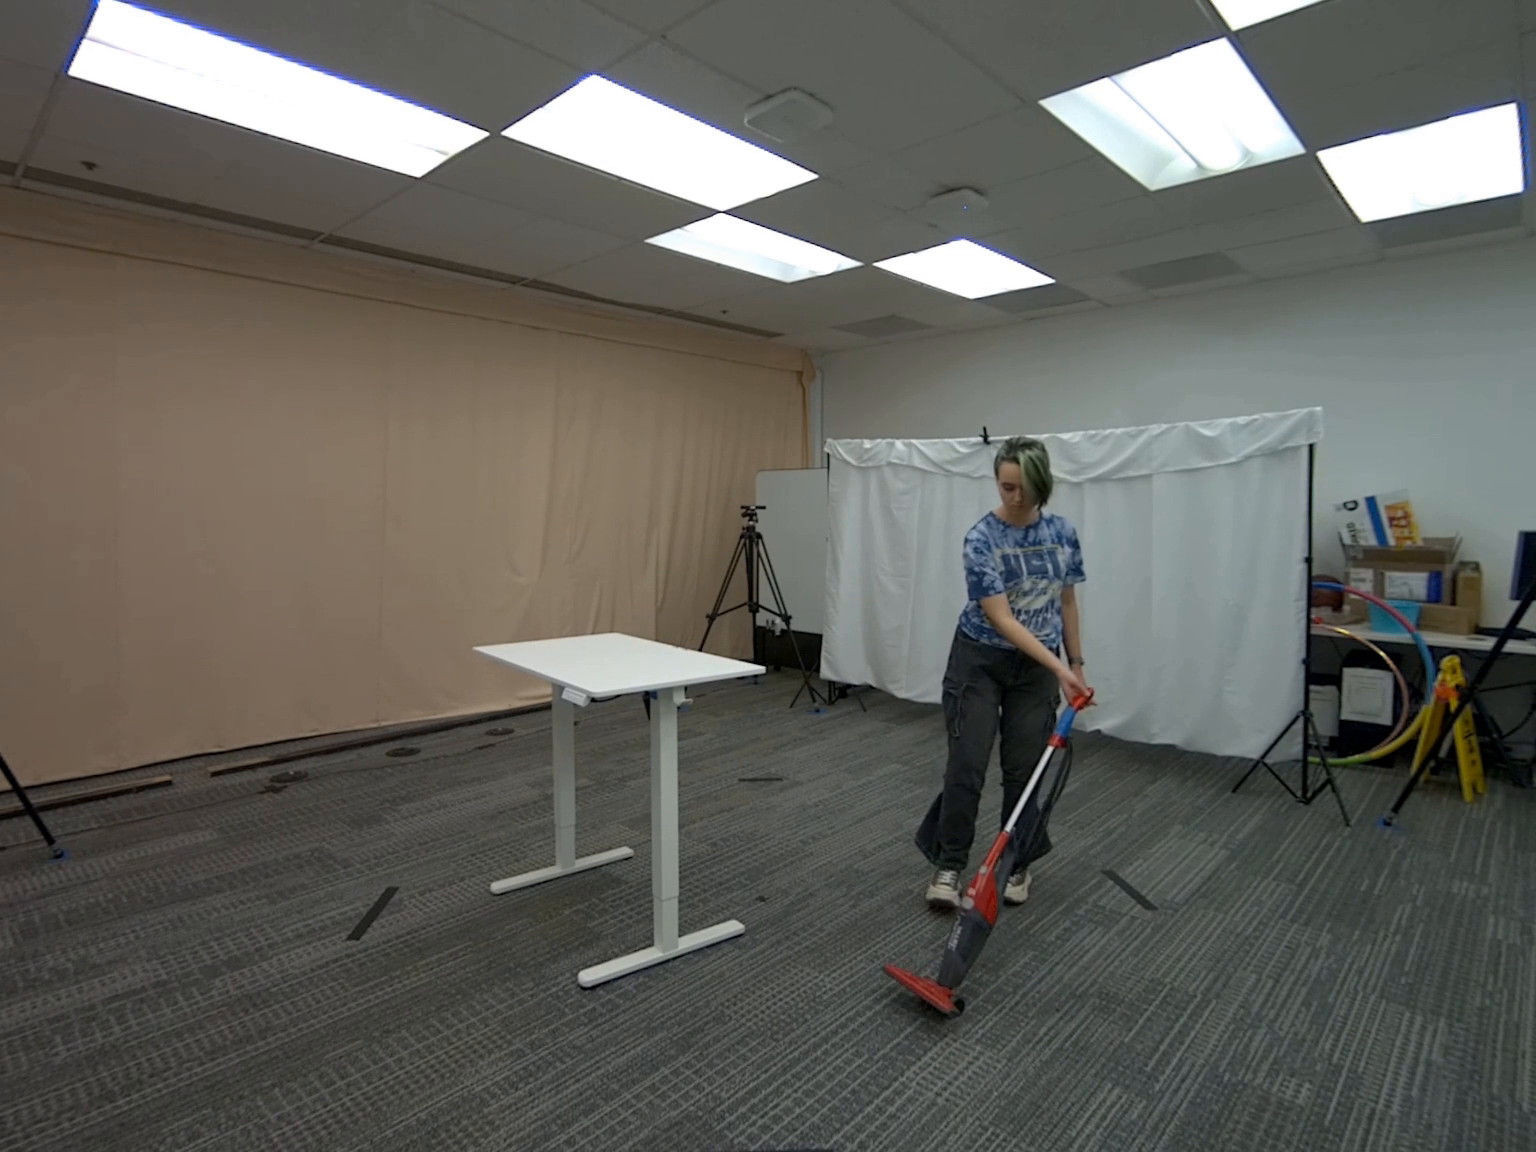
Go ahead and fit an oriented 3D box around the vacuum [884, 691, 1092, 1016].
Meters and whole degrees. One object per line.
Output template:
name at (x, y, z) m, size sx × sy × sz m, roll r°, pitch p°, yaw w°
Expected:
vacuum at (0.731, 0.786, 2.474) m, size 0.261 × 1.046 × 0.140 m, roll 9°, pitch -33°, yaw 53°
